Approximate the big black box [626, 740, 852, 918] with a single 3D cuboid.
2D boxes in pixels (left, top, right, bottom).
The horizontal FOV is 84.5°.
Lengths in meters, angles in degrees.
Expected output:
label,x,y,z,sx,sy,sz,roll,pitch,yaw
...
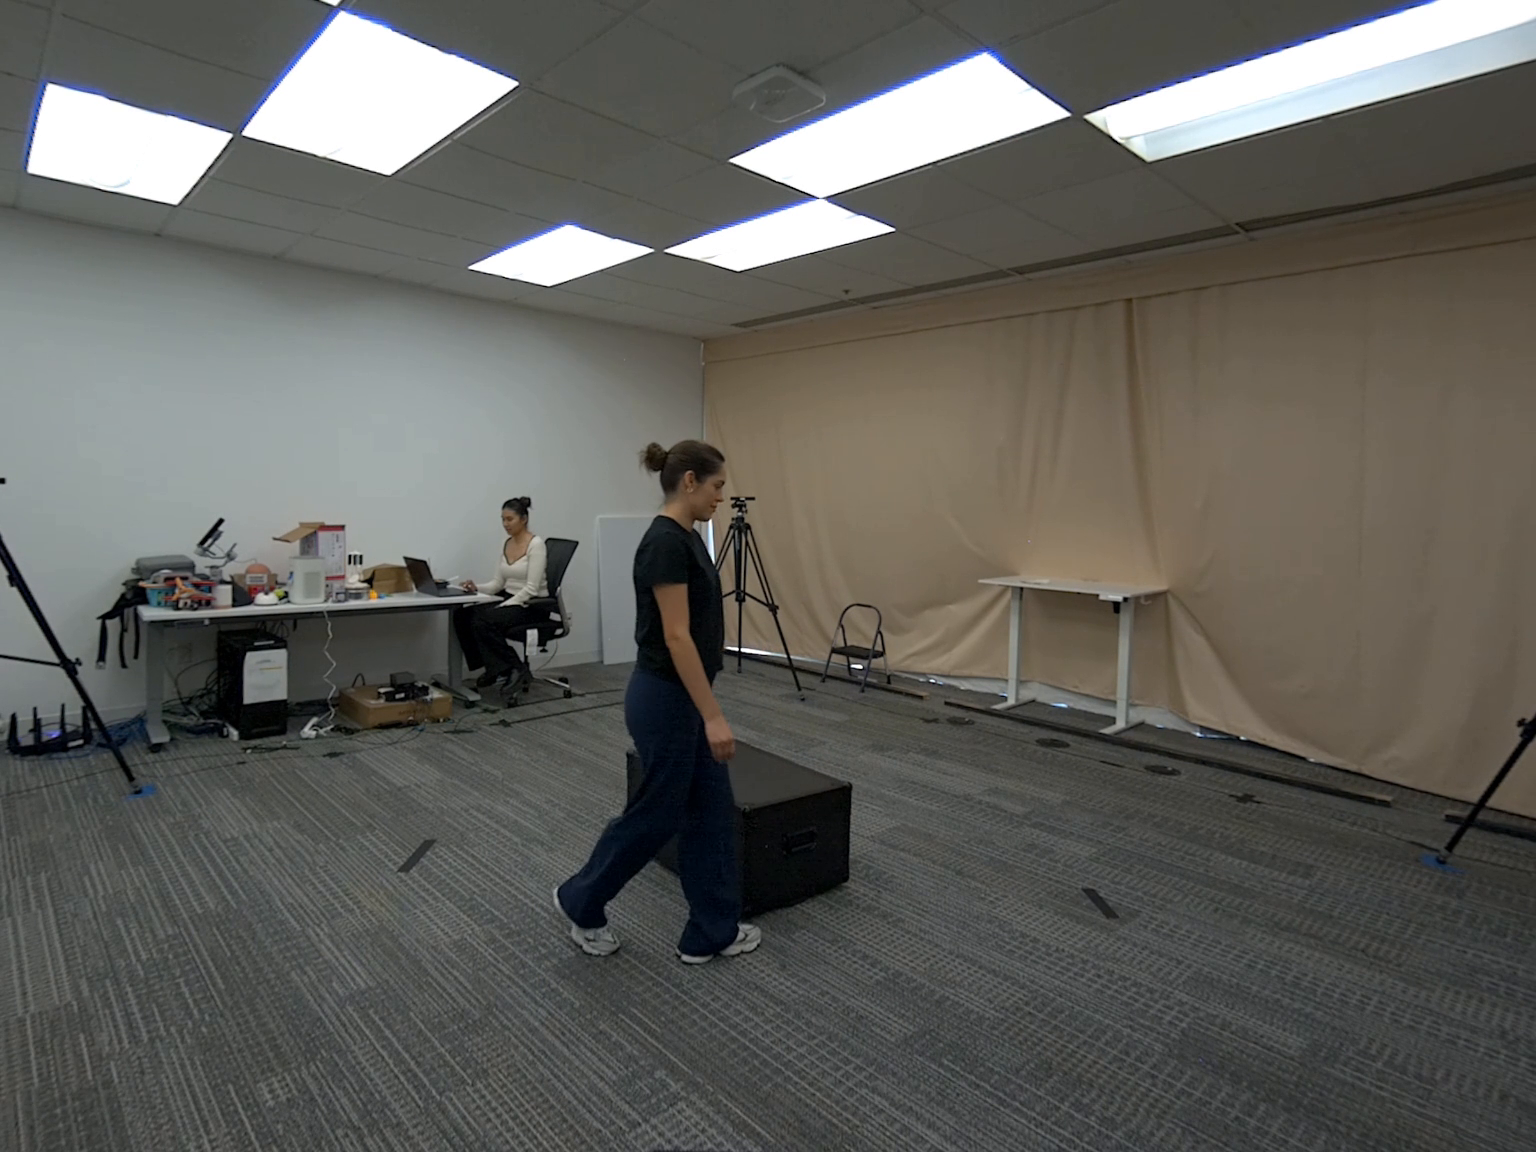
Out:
label,x,y,z,sx,sy,sz,roll,pitch,yaw
big black box,-0.121,0.913,3.155,0.510,0.395,0.883,-2,5,-38
